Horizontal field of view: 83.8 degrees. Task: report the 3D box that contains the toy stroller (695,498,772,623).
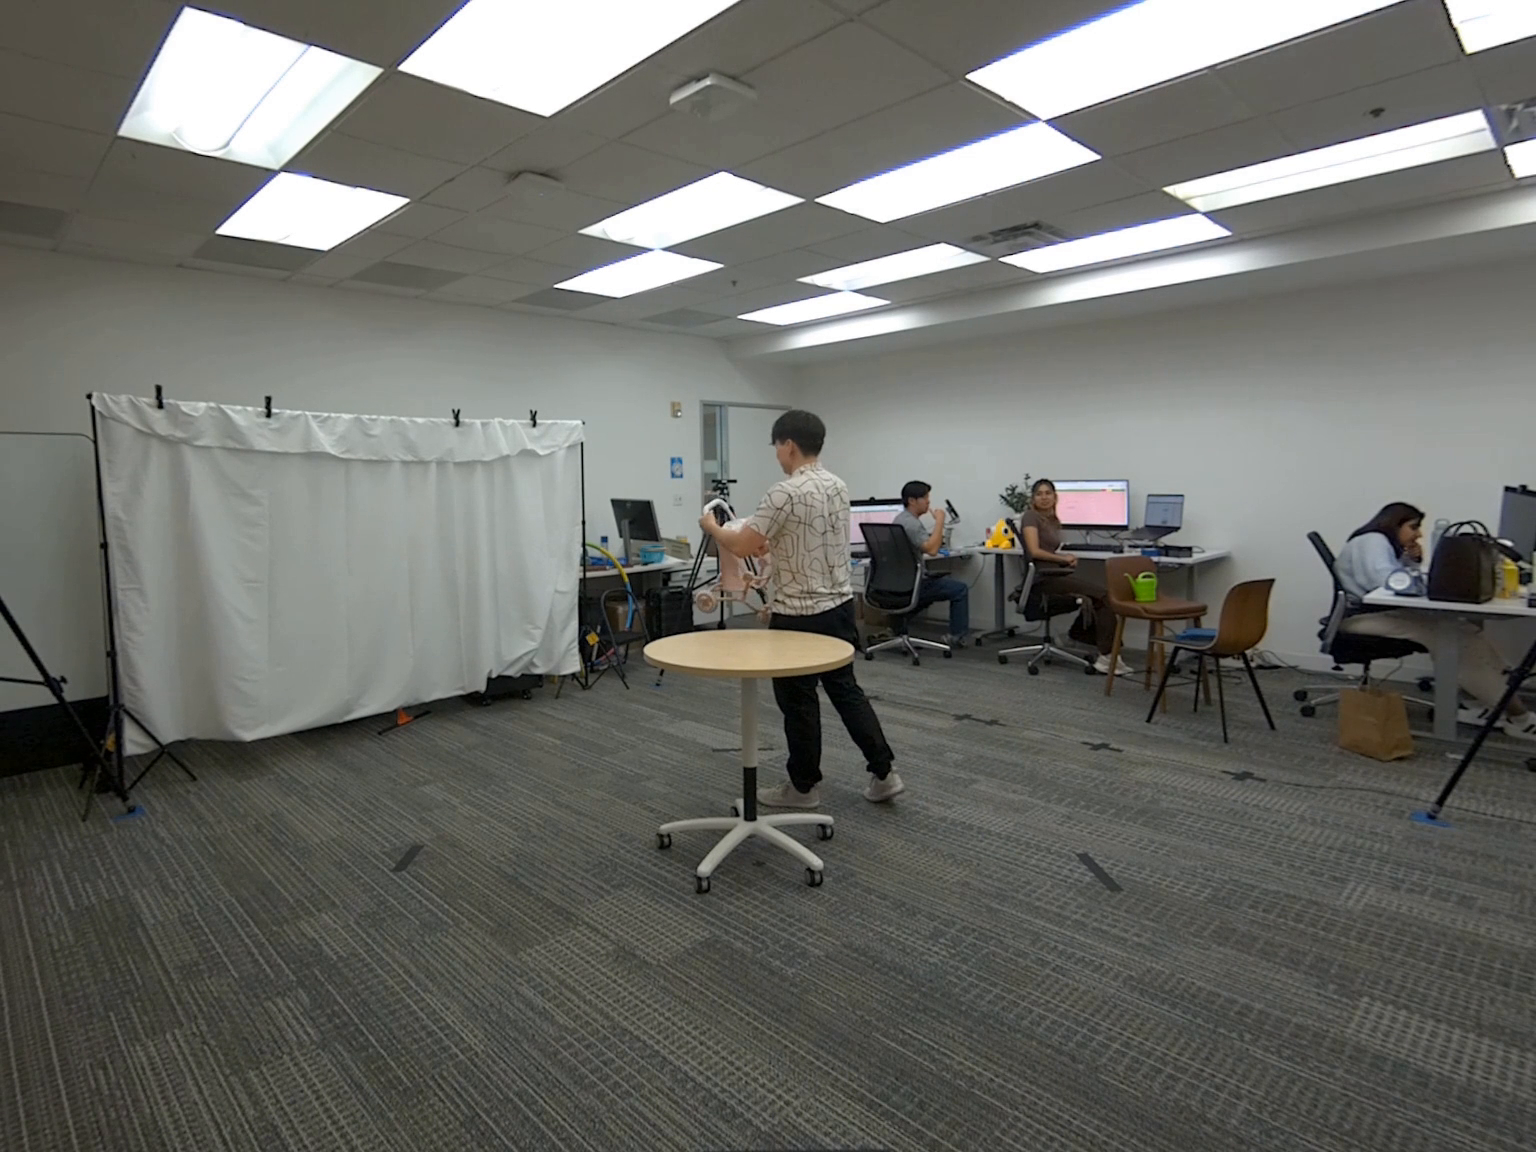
[{"bbox_3d":[-0.120,-0.049,3.834,0.350,0.525,0.279,14,25,22],"label":"toy stroller"}]
